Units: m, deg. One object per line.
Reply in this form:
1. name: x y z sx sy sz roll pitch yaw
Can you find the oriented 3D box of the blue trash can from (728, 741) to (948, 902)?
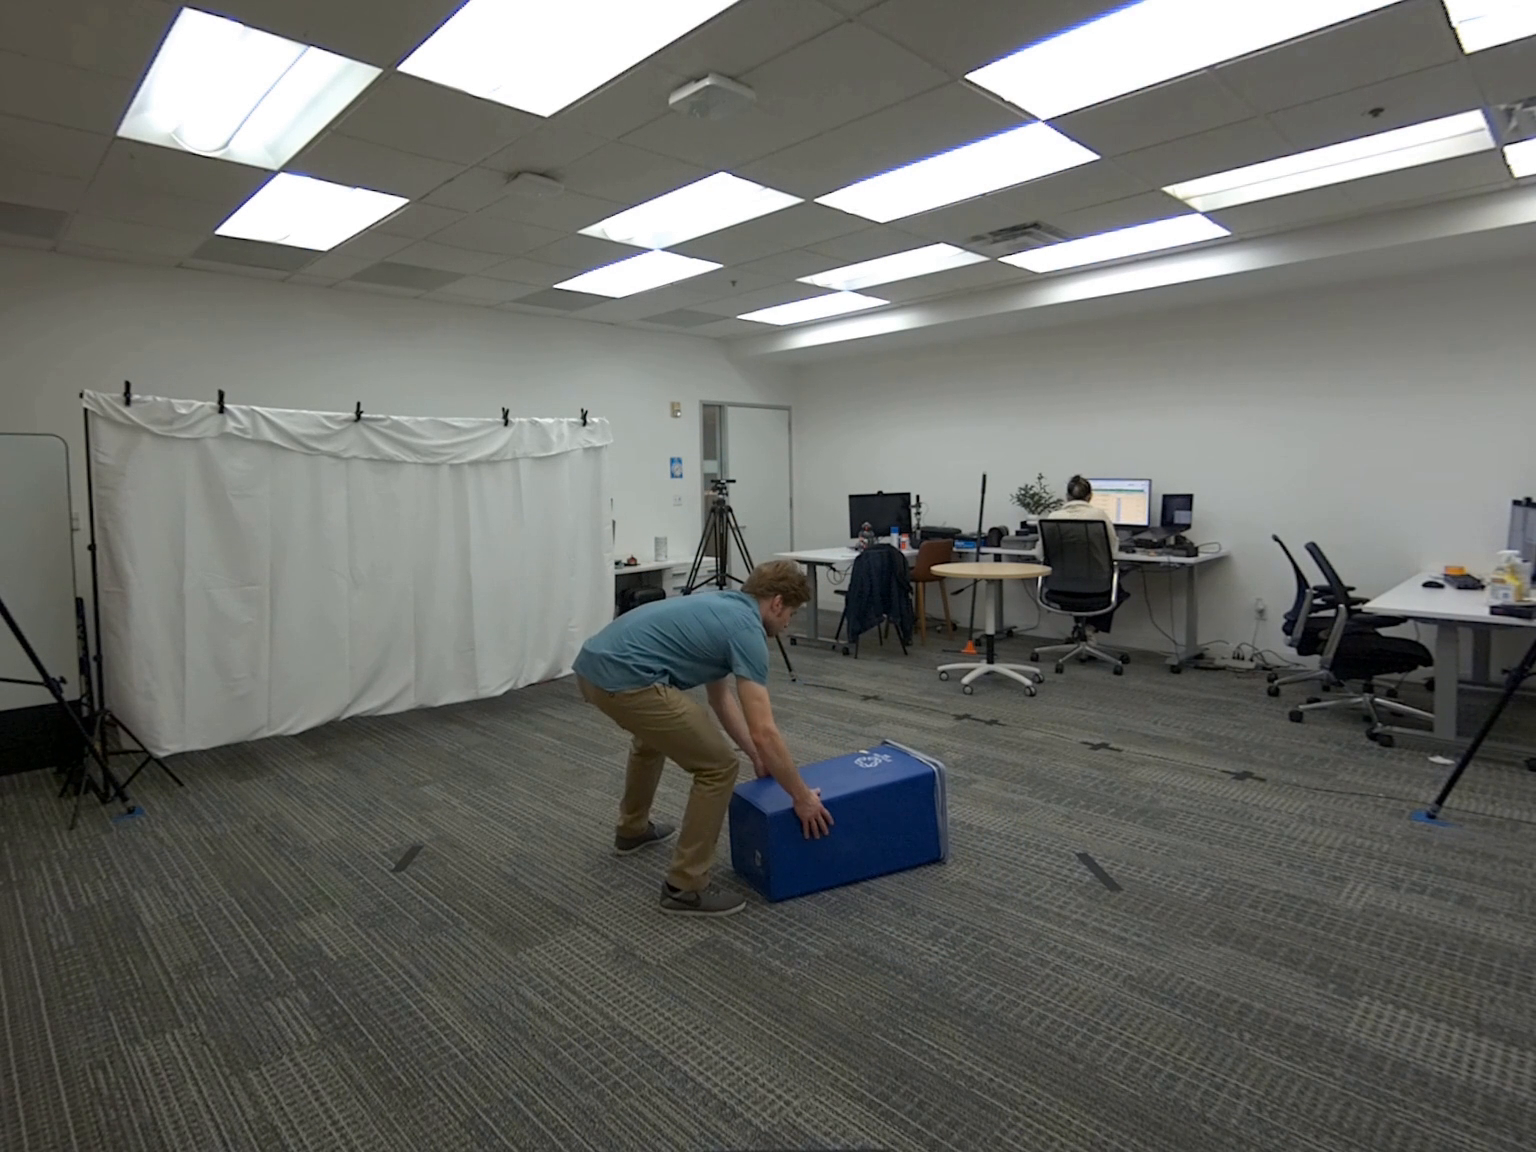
1. blue trash can: 0.250 0.878 3.075 0.699 0.376 0.384 -7 6 -27
